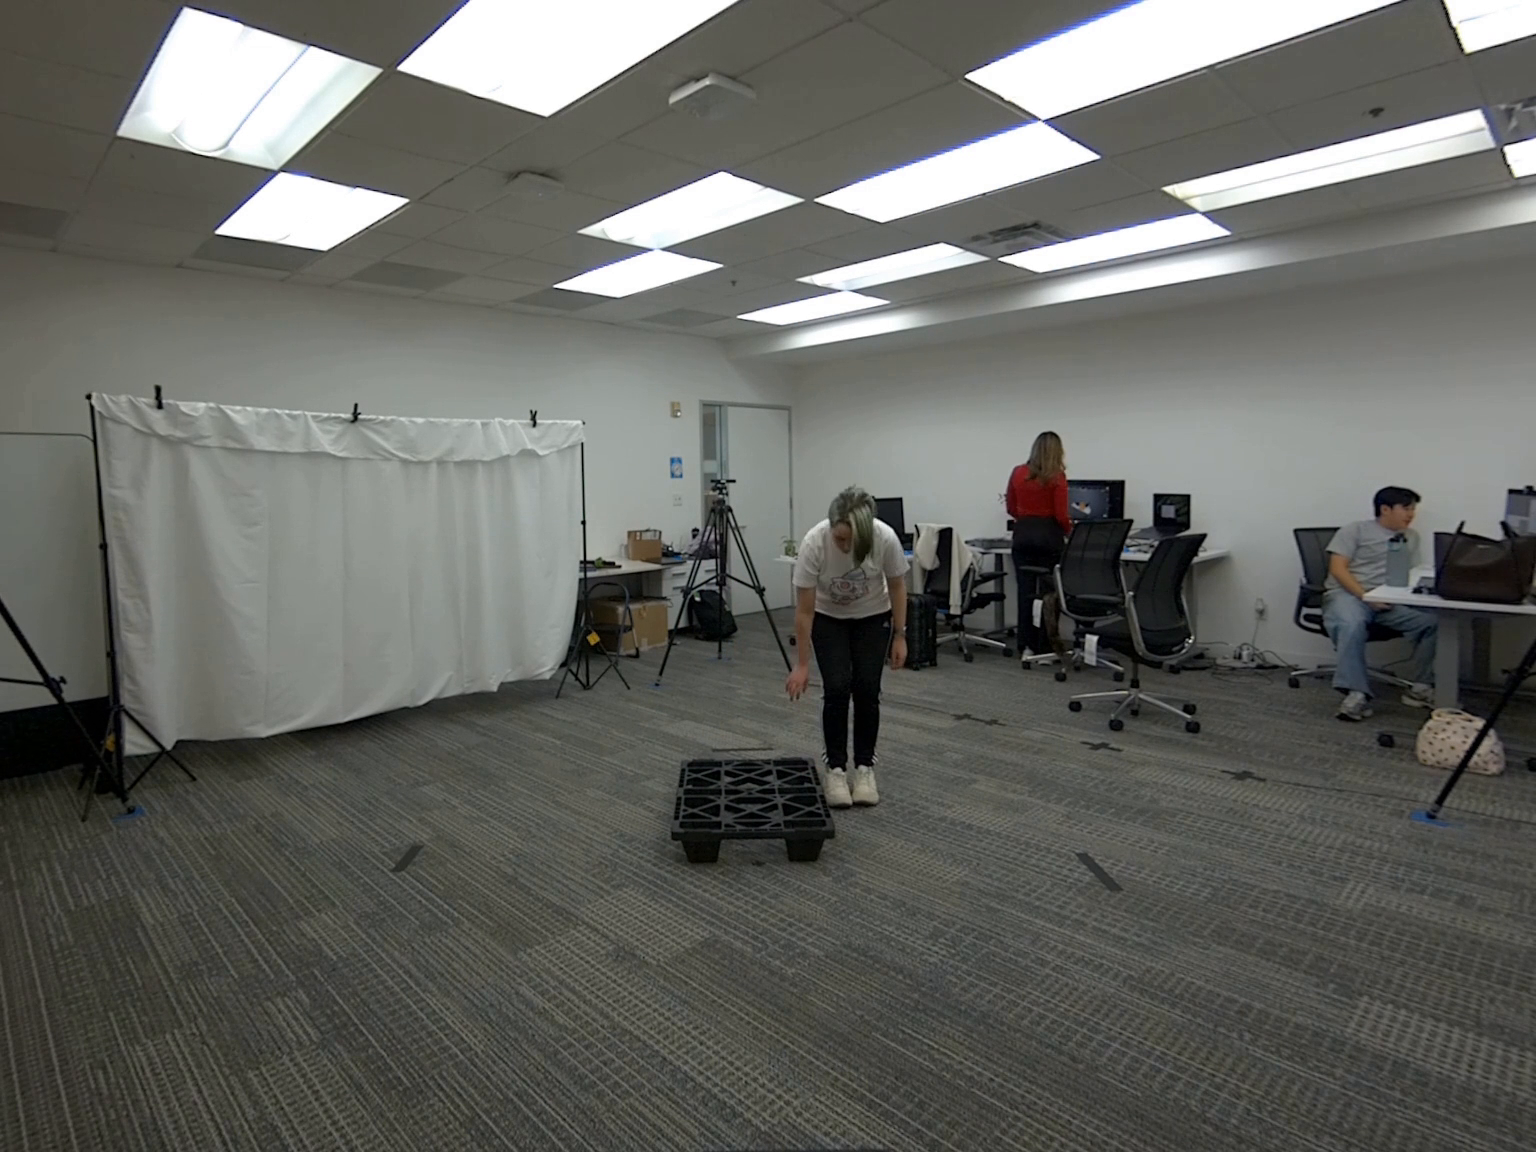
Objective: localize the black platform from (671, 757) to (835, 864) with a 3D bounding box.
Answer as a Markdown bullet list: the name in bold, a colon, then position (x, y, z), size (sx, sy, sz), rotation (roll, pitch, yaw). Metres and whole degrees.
- **black platform**: position (-0.076, 0.937, 3.478), size (0.605, 0.143, 0.810), rotation (-2, 6, -1)
